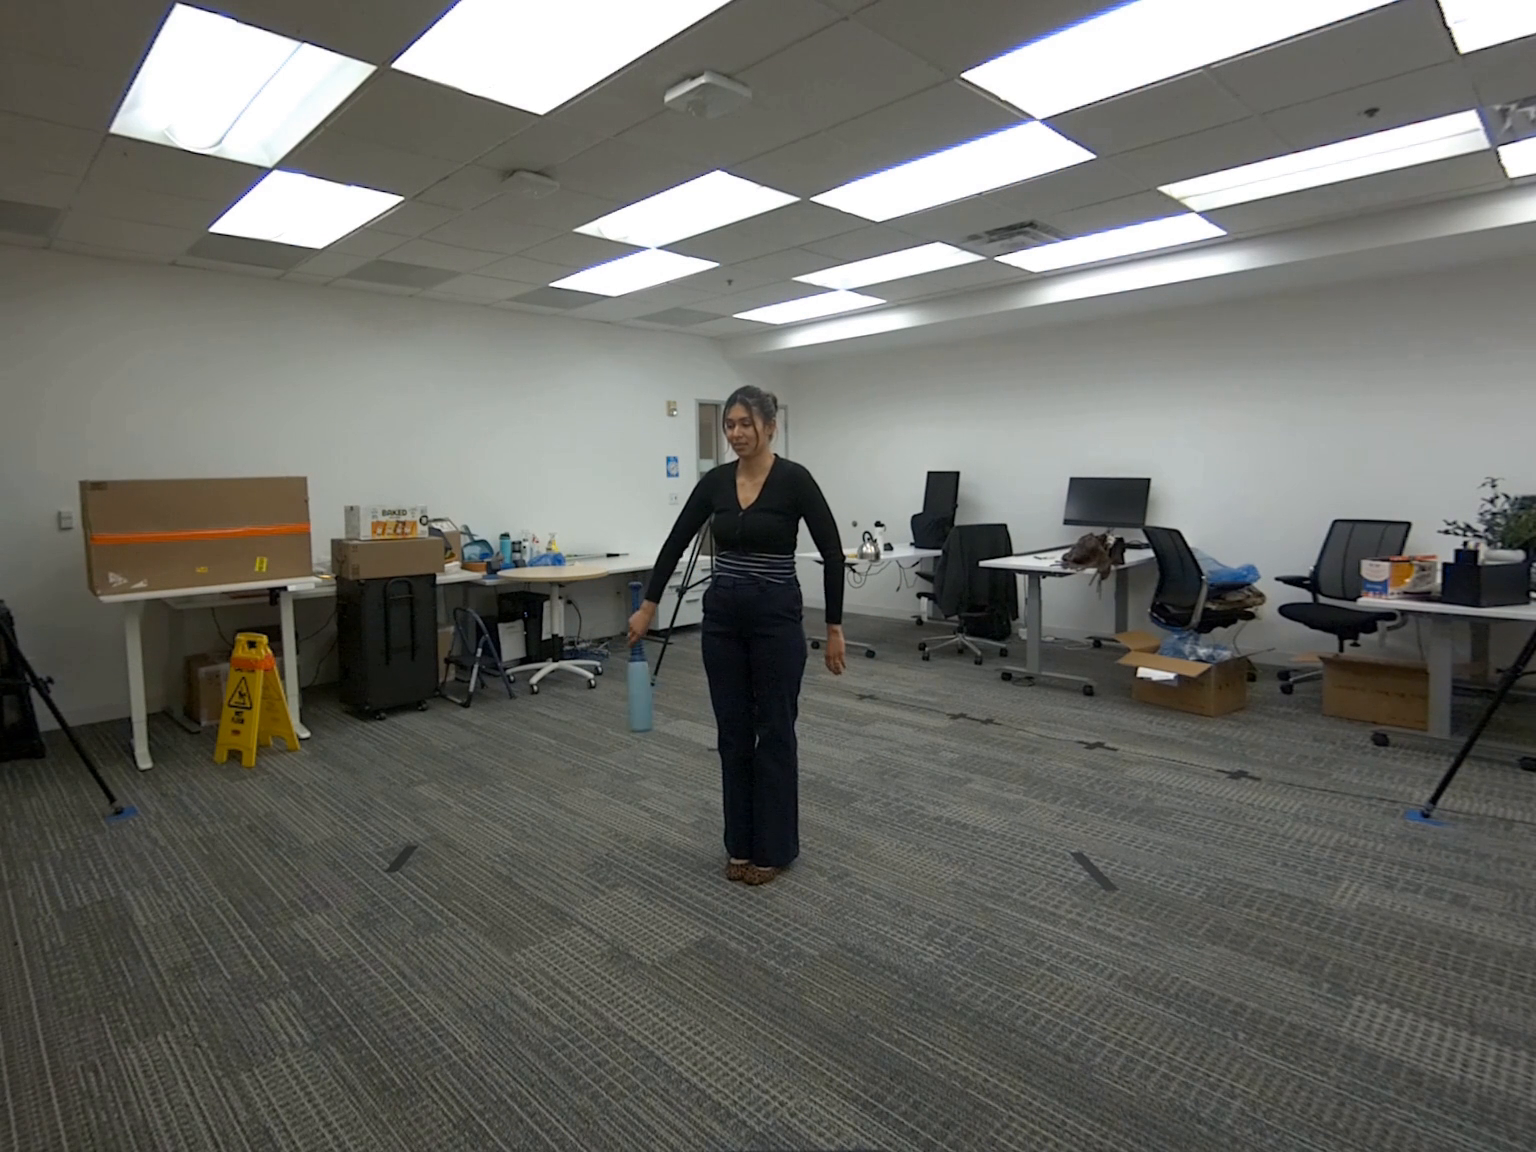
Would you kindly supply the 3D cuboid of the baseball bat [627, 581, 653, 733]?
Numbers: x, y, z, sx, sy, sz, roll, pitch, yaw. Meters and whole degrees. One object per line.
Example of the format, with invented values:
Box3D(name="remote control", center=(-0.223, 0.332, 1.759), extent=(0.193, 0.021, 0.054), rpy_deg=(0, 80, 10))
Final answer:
Box3D(name="baseball bat", center=(-0.459, 0.283, 3.124), extent=(0.089, 0.549, 0.088), rpy_deg=(-2, -11, -2))
